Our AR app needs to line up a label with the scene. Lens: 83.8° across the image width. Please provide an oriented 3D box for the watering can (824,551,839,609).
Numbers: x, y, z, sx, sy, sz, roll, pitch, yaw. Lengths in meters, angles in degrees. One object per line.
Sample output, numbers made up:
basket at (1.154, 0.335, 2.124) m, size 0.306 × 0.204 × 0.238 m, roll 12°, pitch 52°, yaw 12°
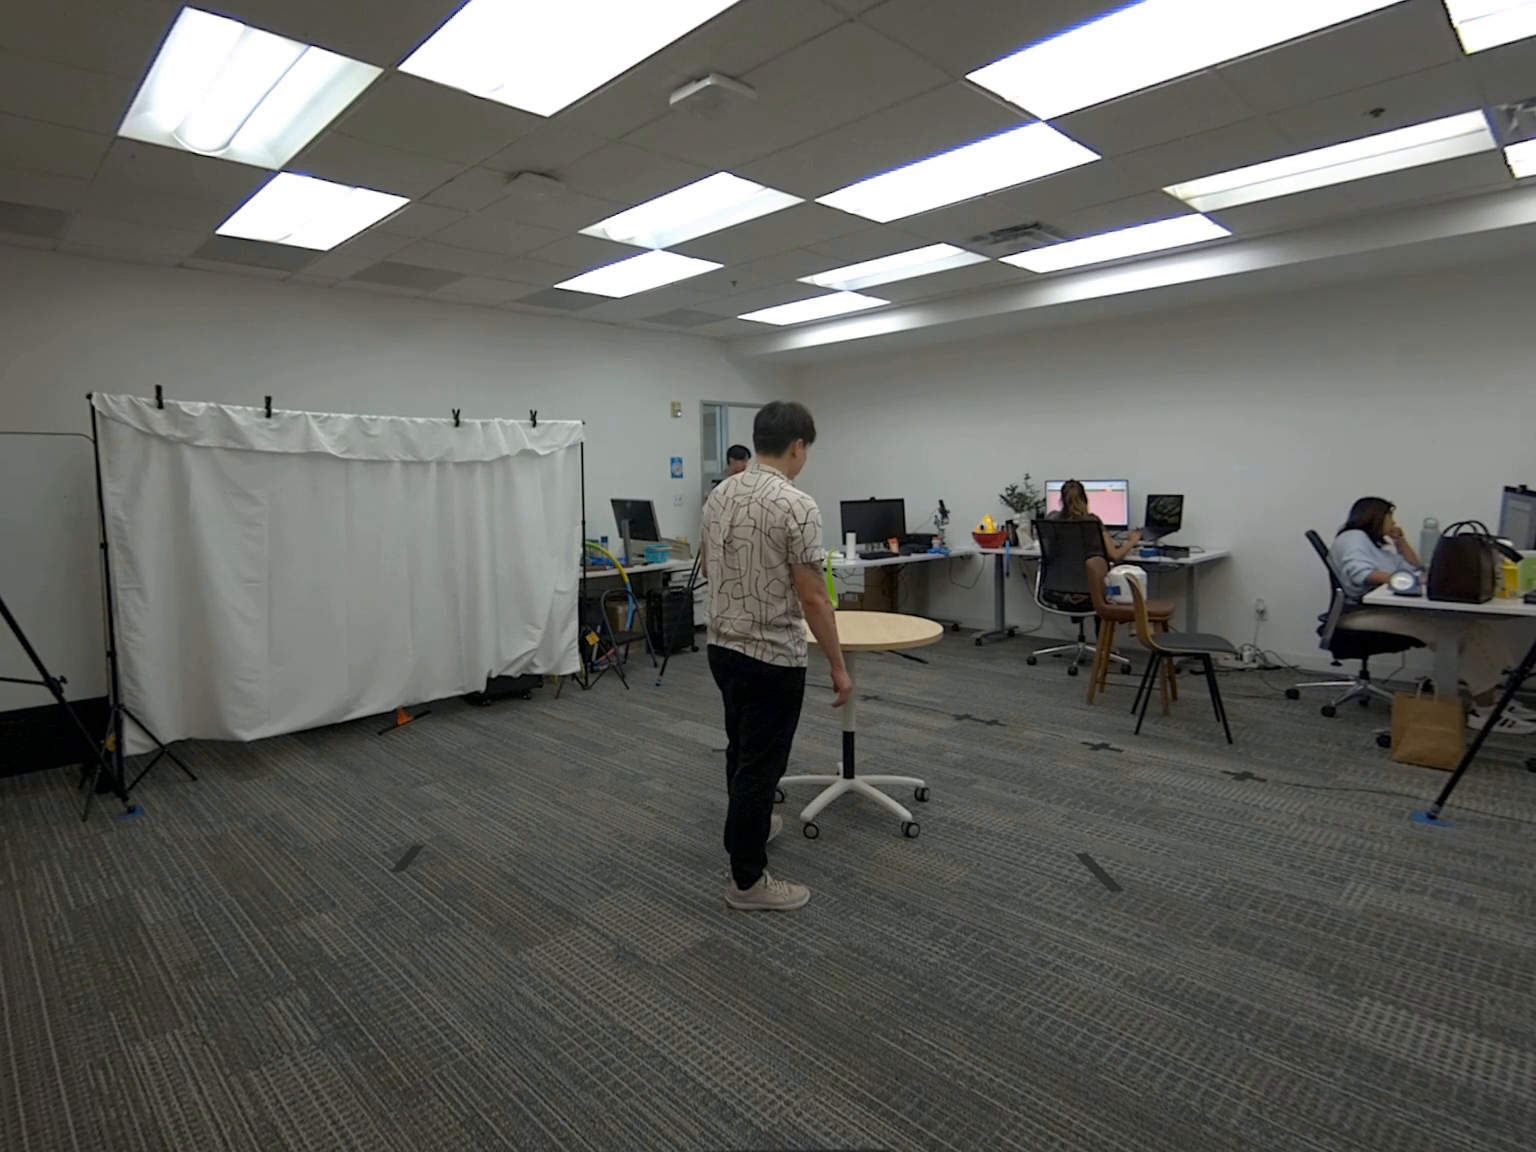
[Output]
watering can at (0.192, 0.056, 3.095) m, size 0.278 × 0.179 × 0.096 m, roll -42°, pitch -10°, yaw 9°
